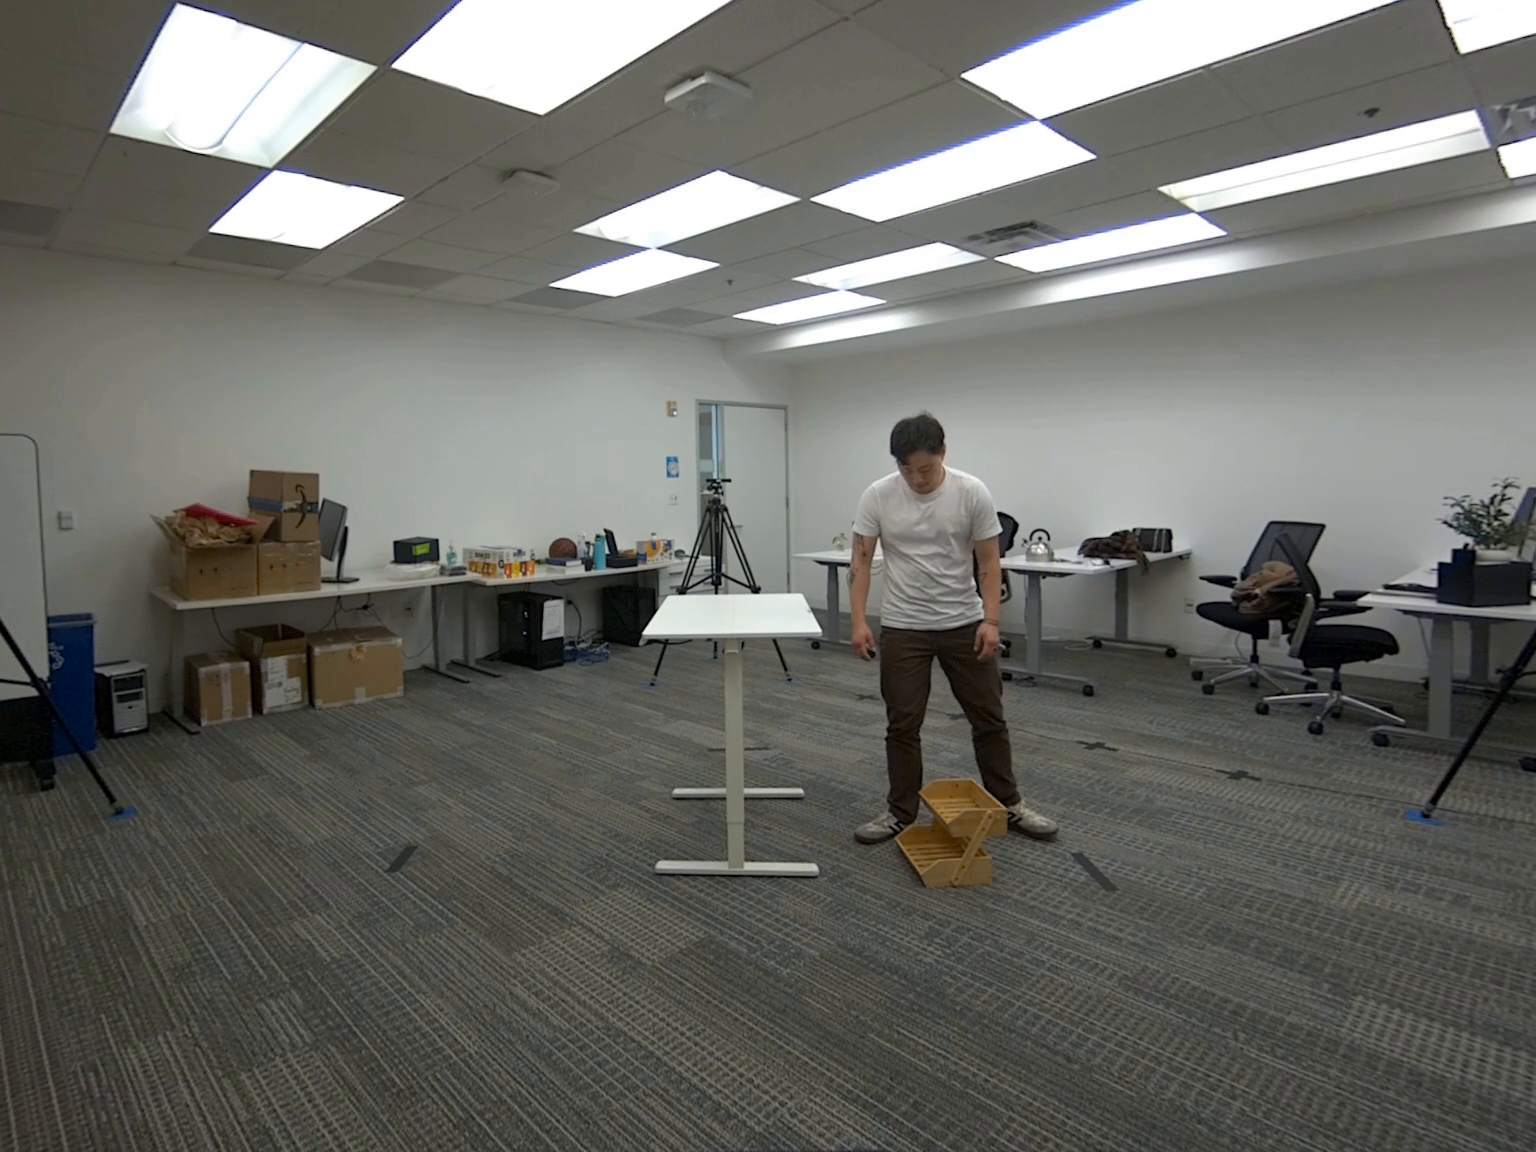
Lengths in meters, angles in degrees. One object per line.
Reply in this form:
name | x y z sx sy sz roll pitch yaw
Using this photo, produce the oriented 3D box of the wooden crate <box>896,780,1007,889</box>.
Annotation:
wooden crate | 0.638 0.898 3.054 0.300 0.272 0.328 -2 5 -7
